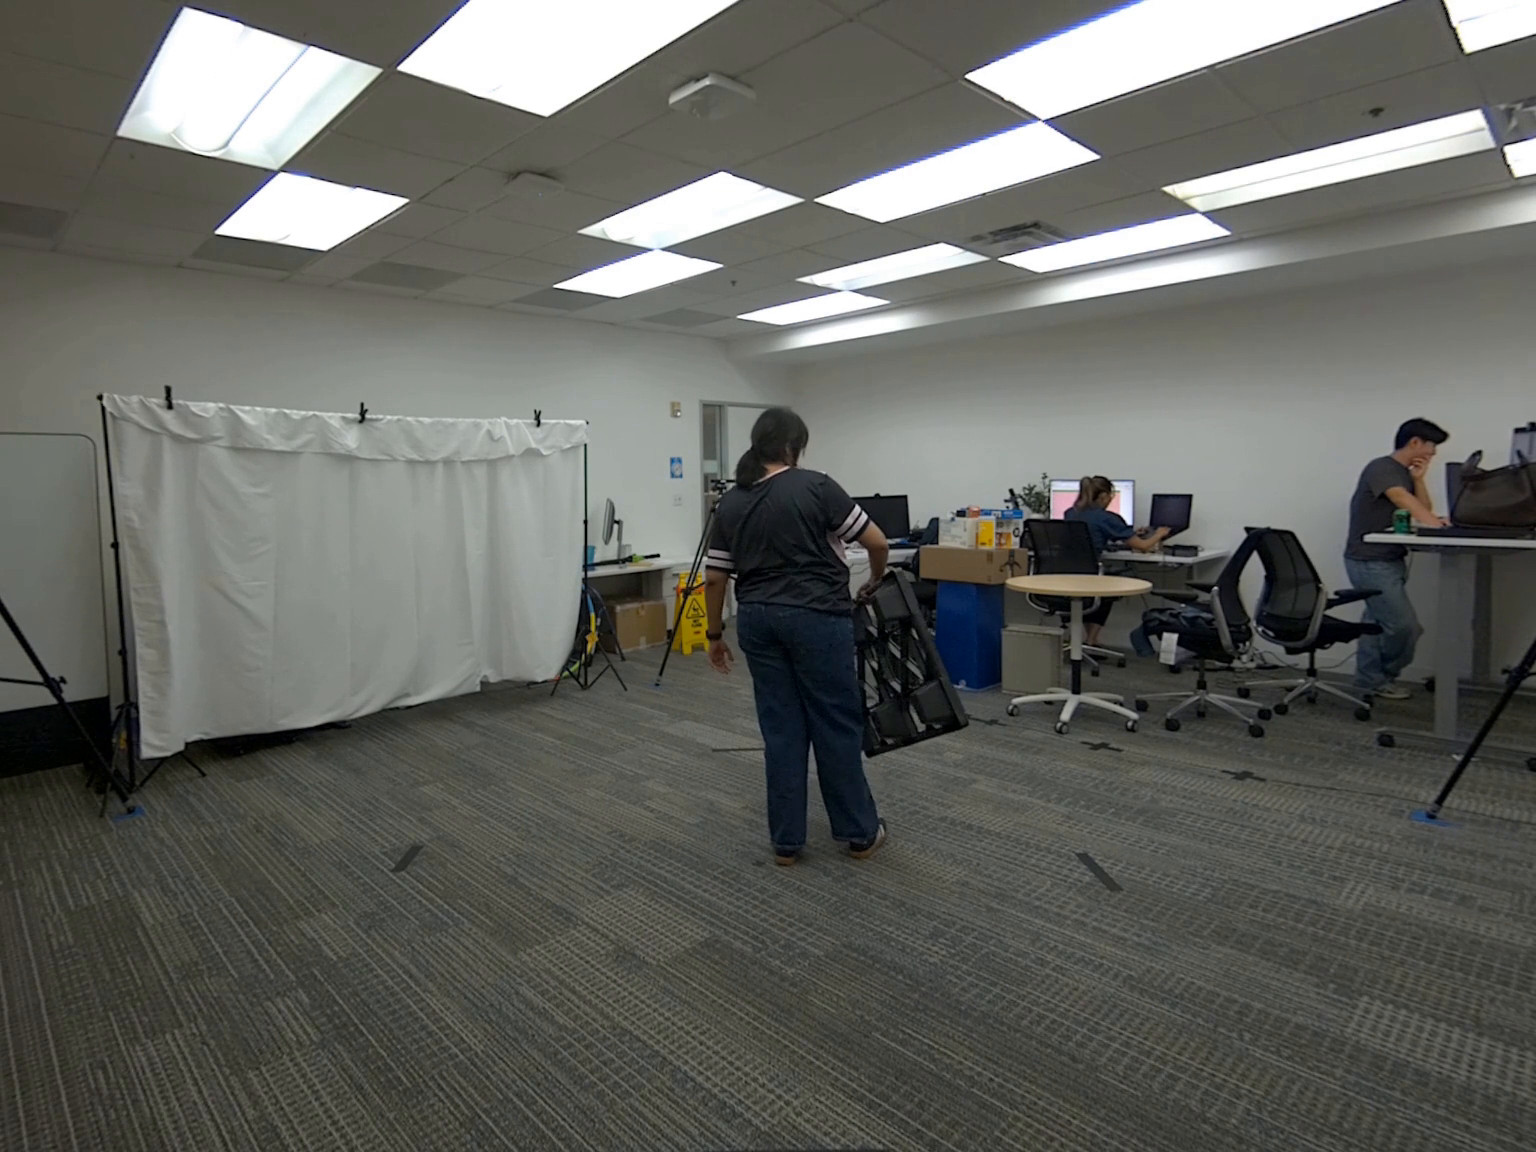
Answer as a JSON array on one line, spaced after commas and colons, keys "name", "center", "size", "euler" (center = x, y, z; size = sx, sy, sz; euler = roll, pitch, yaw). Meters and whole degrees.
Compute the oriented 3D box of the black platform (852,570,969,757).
[{"name": "black platform", "center": [0.399, 0.373, 3.329], "size": [0.141, 0.616, 0.803], "euler": [-15, -15, -23]}]
